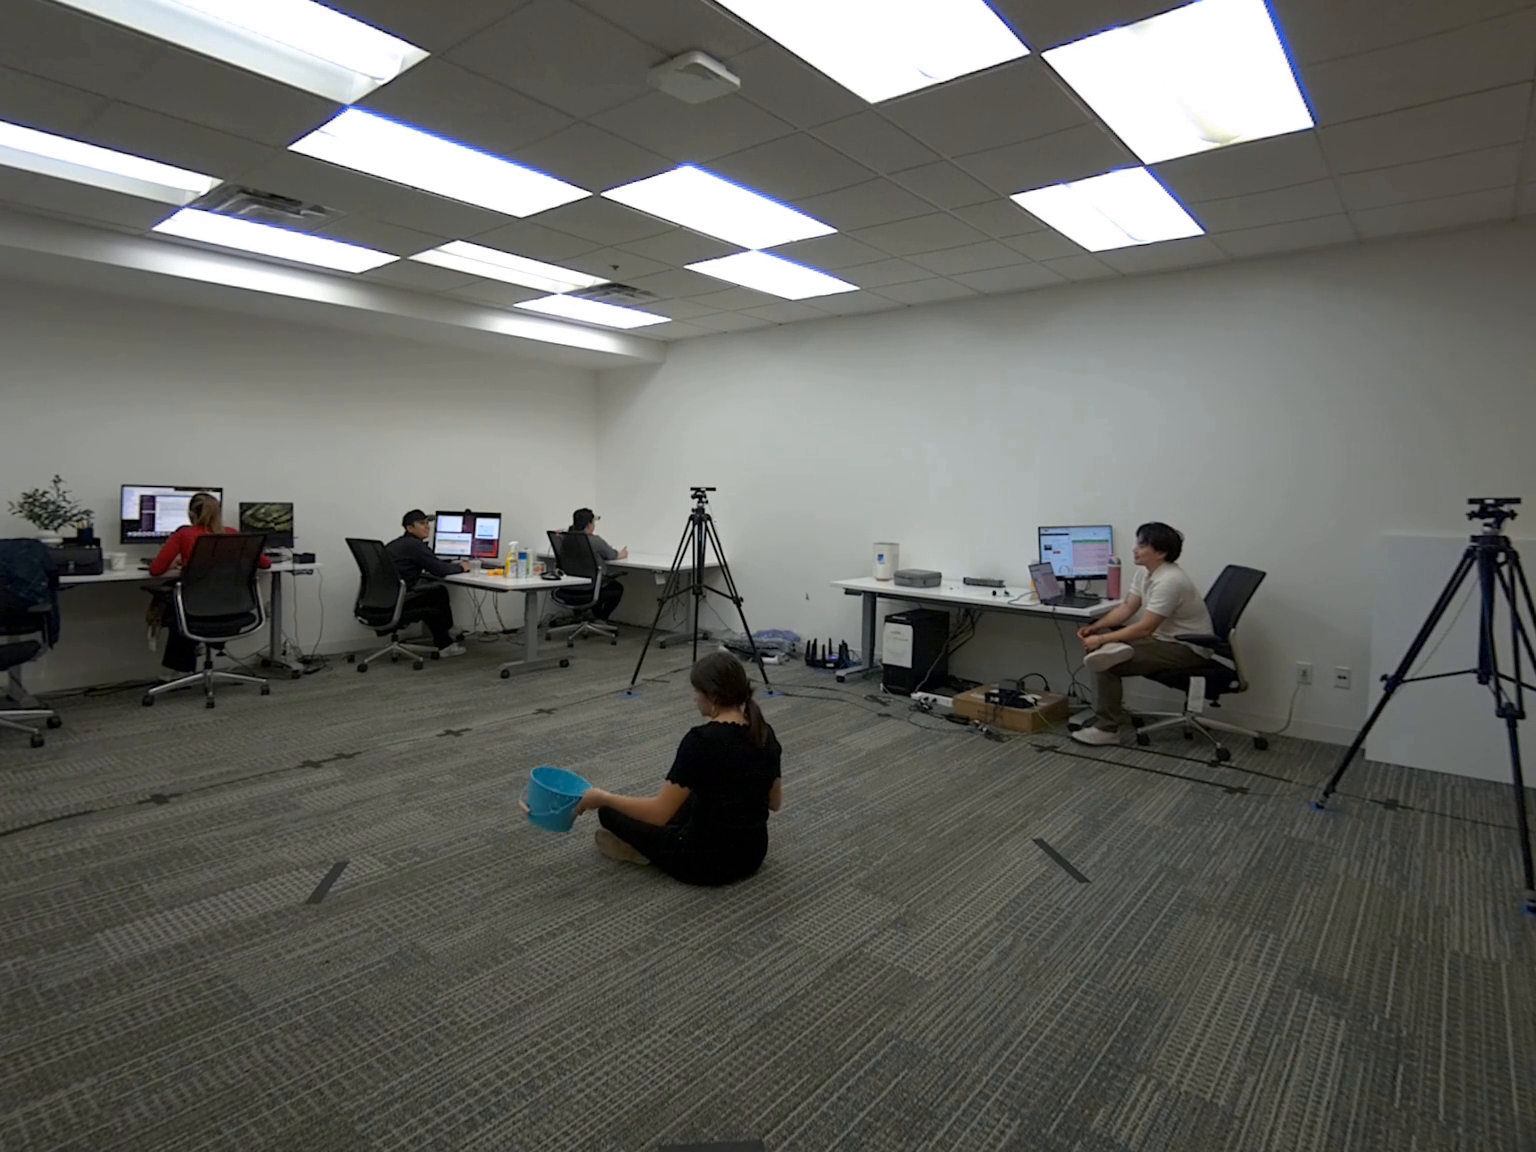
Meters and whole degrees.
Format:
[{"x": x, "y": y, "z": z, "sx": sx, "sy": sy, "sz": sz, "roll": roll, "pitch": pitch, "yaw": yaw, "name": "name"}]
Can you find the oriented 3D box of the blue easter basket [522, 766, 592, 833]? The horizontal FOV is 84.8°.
[{"x": -0.776, "y": 0.805, "z": 3.082, "sx": 0.243, "sy": 0.156, "sz": 0.244, "roll": 20, "pitch": 3, "yaw": -3, "name": "blue easter basket"}]
